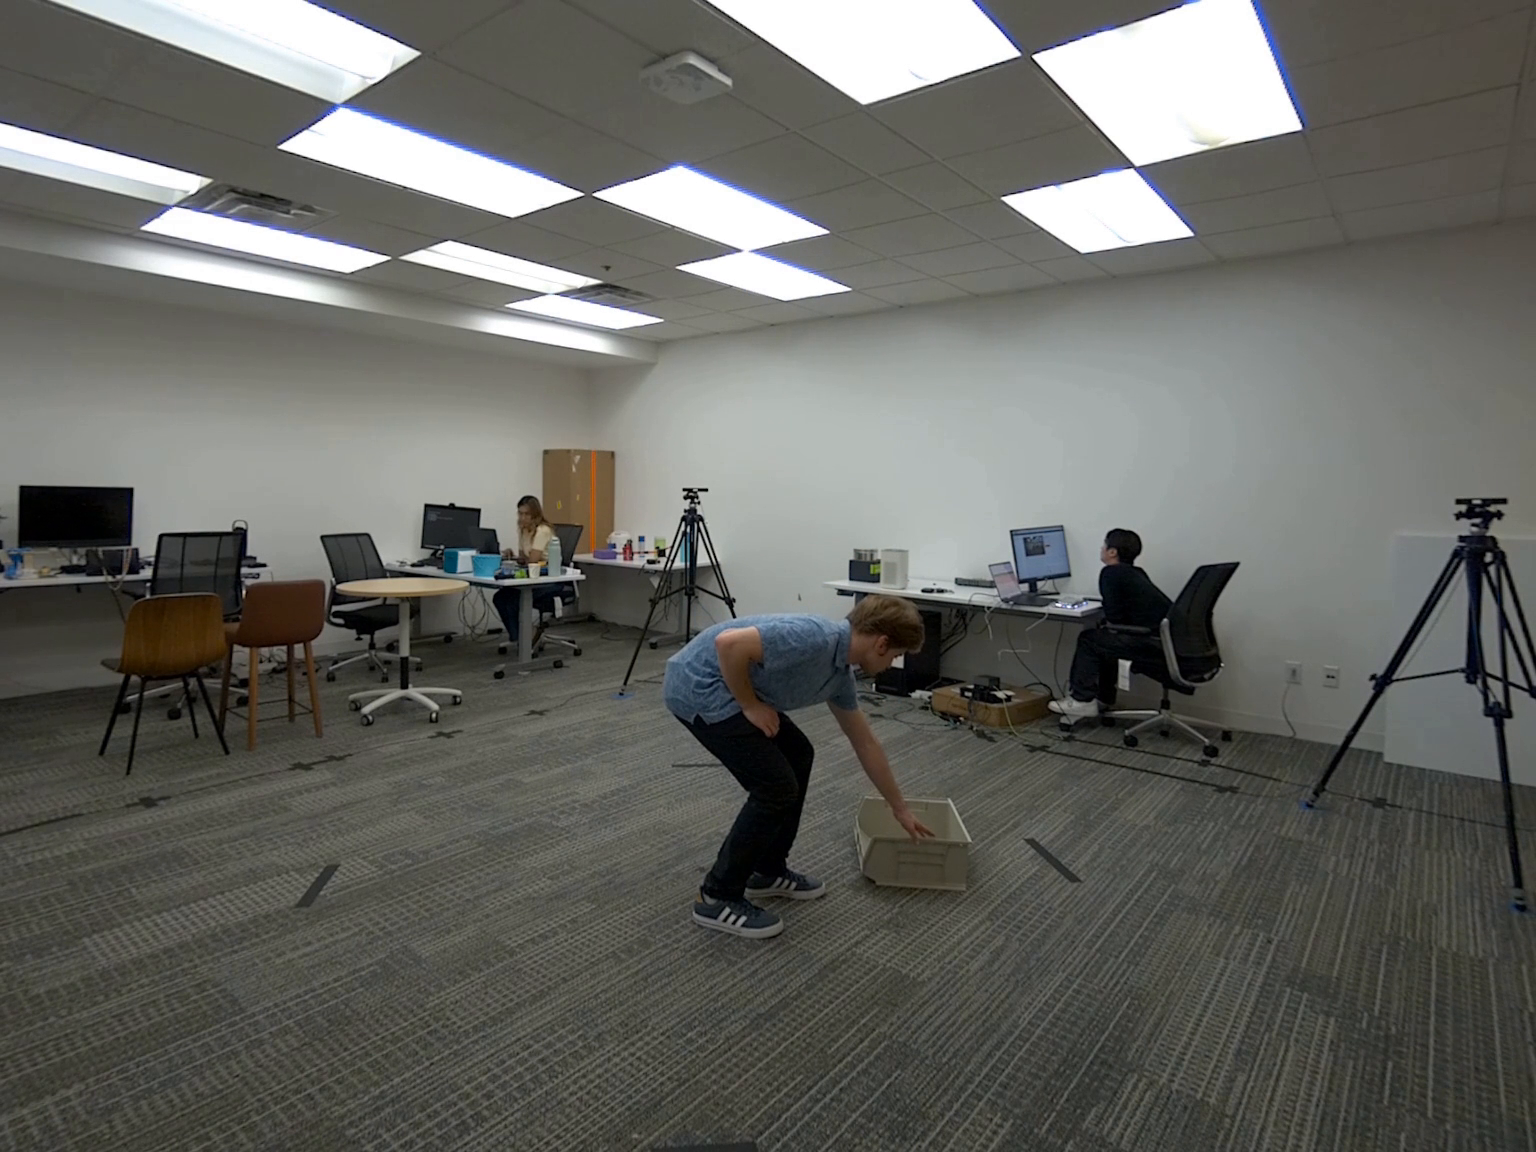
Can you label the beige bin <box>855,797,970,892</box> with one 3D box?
[{"bbox_3d":[0.523,0.988,3.200,0.379,0.188,0.422,2,5,3],"label":"beige bin"}]
